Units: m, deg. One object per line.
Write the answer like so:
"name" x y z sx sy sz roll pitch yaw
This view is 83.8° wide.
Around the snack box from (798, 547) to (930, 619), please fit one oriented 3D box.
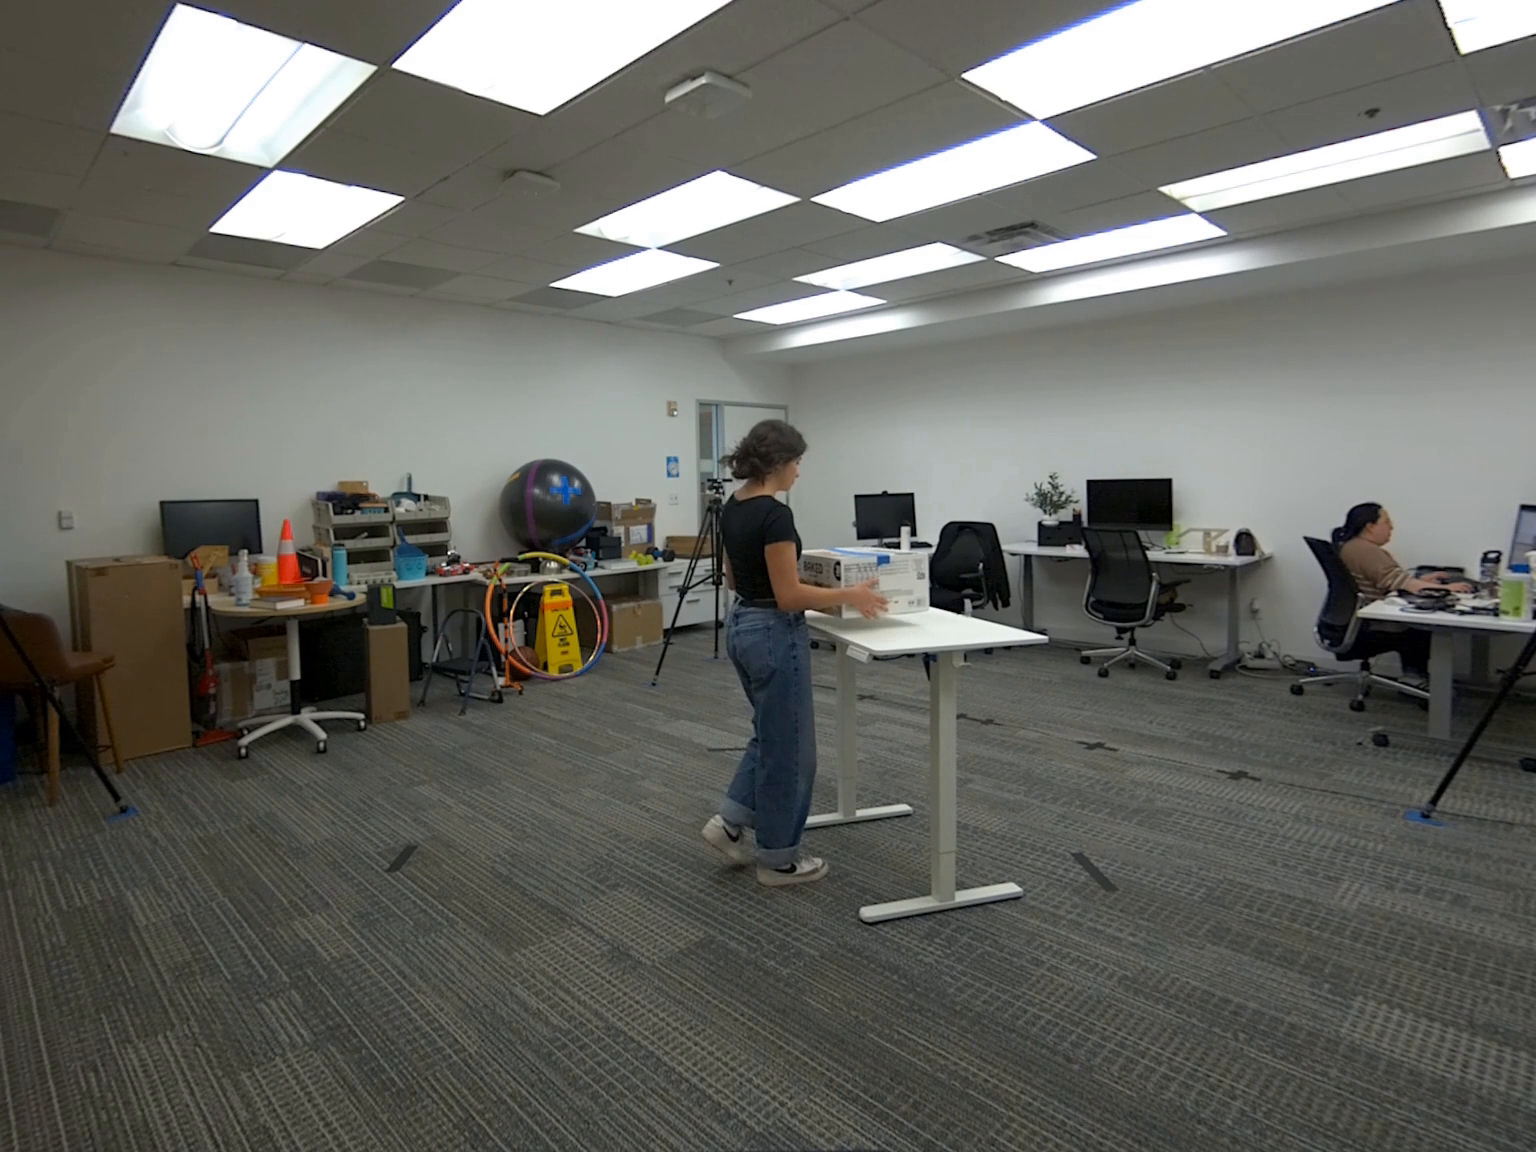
"snack box" 0.310 0.016 3.055 0.334 0.205 0.414 -4 6 -22
